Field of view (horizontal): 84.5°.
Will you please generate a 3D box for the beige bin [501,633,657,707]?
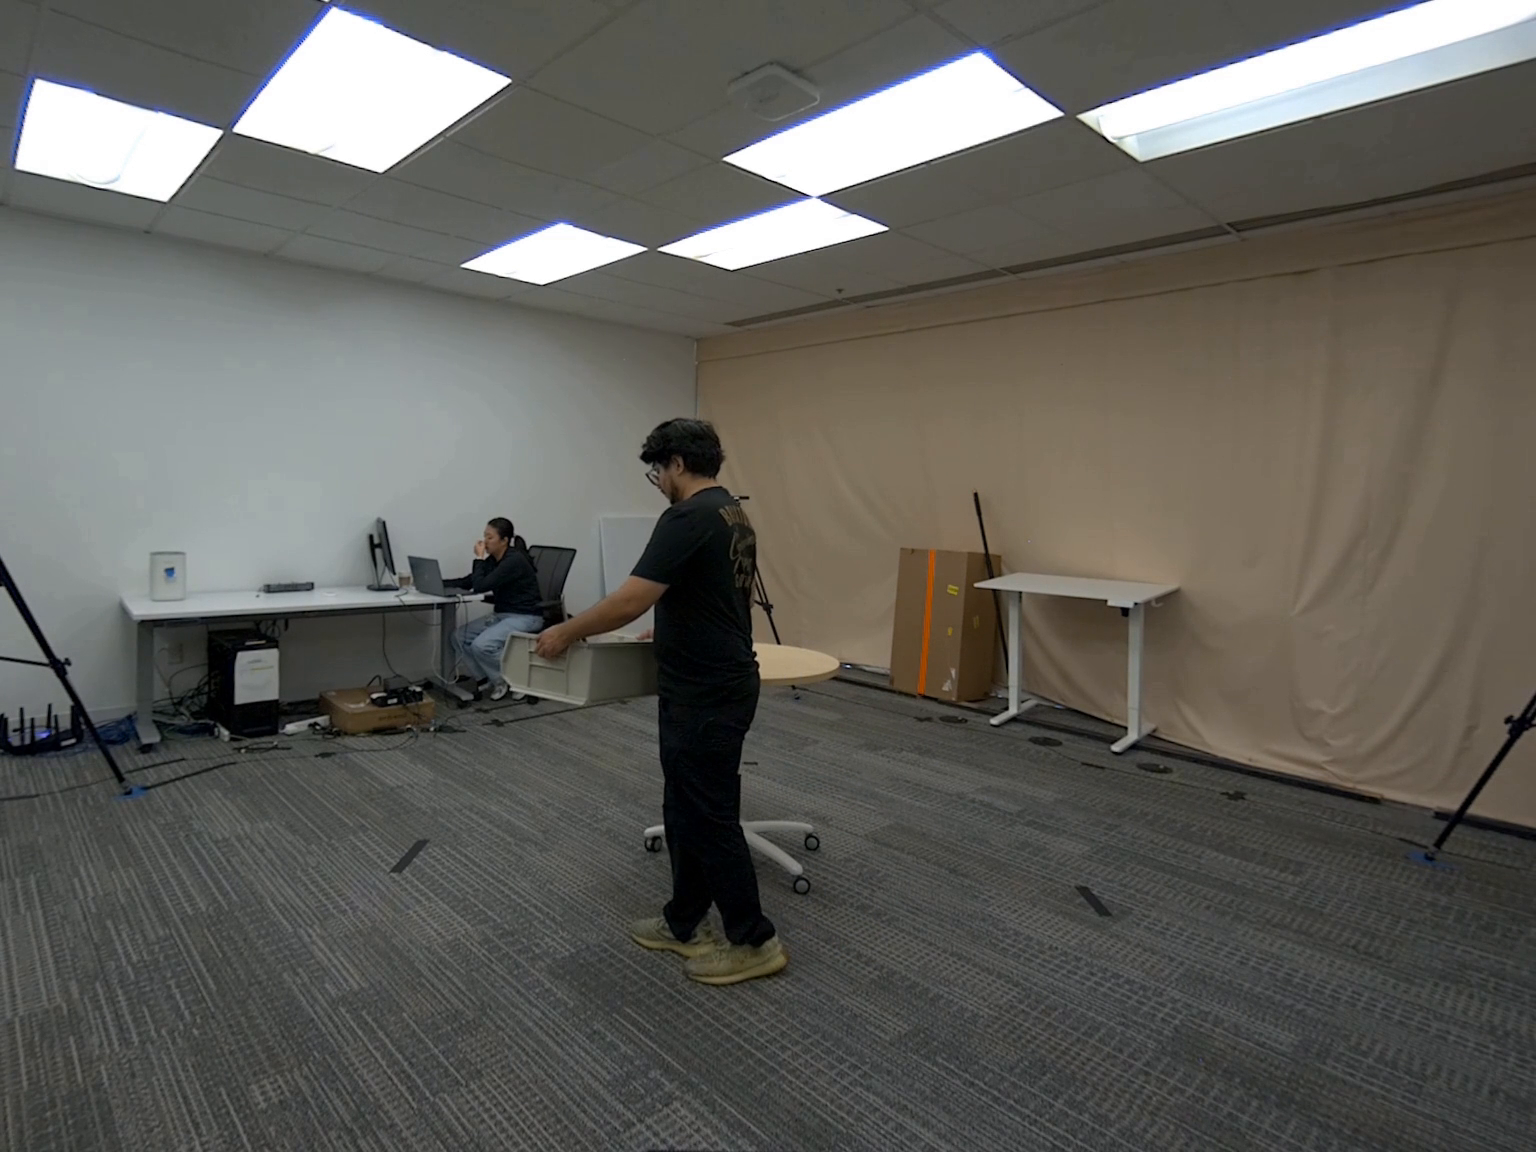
[{"bbox_3d":[-0.551,0.274,2.641,0.386,0.189,0.412,5,-1,33],"label":"beige bin"}]
